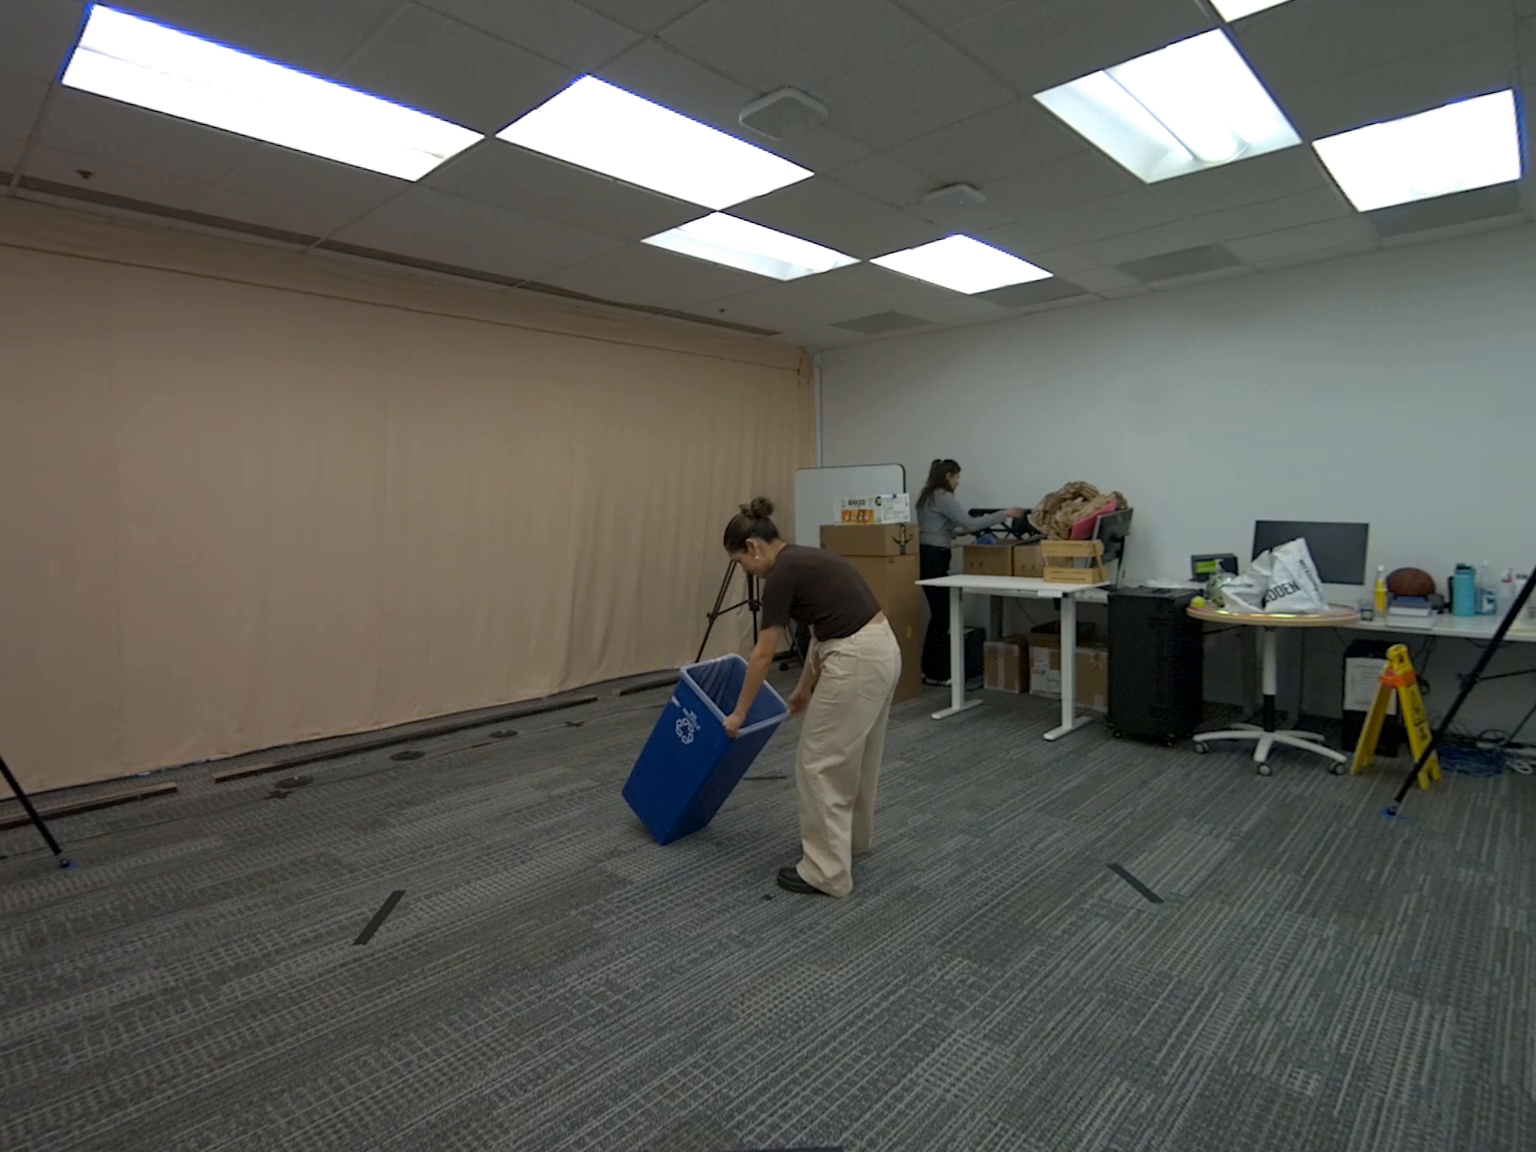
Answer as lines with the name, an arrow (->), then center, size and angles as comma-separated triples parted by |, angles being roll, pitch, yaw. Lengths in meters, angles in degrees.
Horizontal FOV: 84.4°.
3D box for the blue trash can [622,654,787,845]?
blue trash can -> -0.277, 0.729, 3.474 | 0.385, 0.713, 0.367 | 43, 28, 26
